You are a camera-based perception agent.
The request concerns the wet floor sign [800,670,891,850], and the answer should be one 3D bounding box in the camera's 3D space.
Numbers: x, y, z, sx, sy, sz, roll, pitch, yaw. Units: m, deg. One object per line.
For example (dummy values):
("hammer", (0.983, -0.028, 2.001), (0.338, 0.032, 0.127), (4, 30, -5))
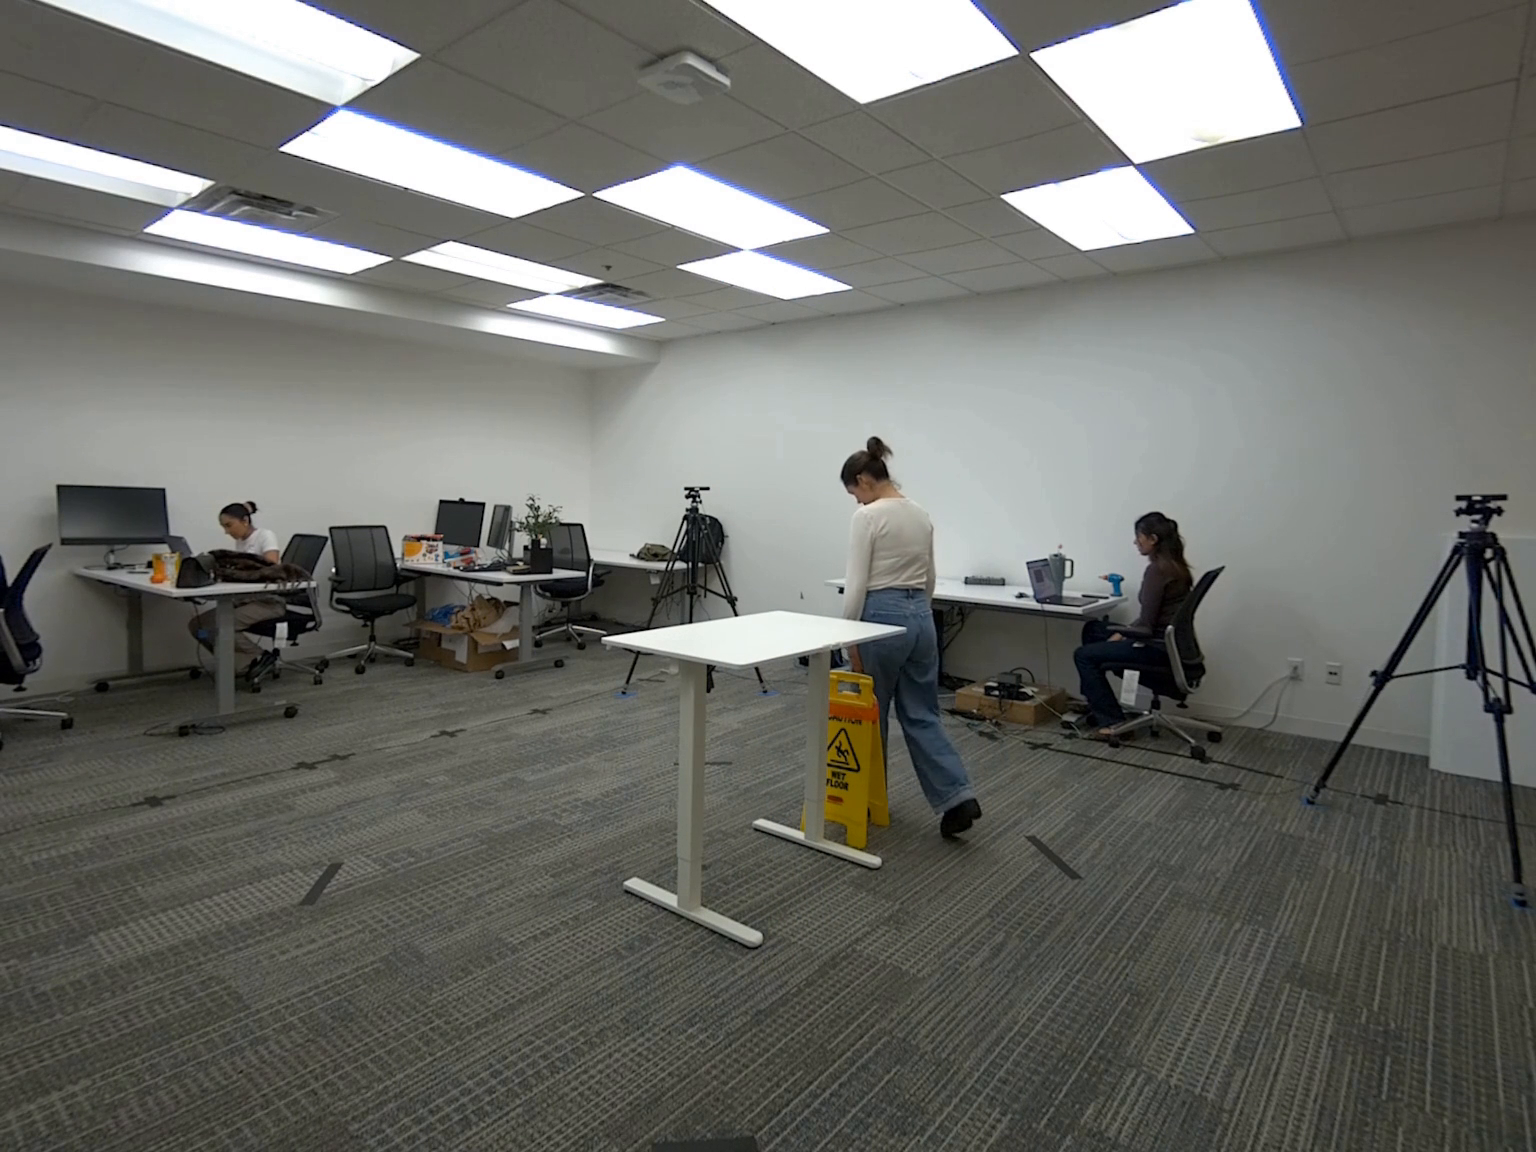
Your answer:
("wet floor sign", (0.321, 0.713, 3.473), (0.290, 0.644, 0.282), (4, 4, 28))
